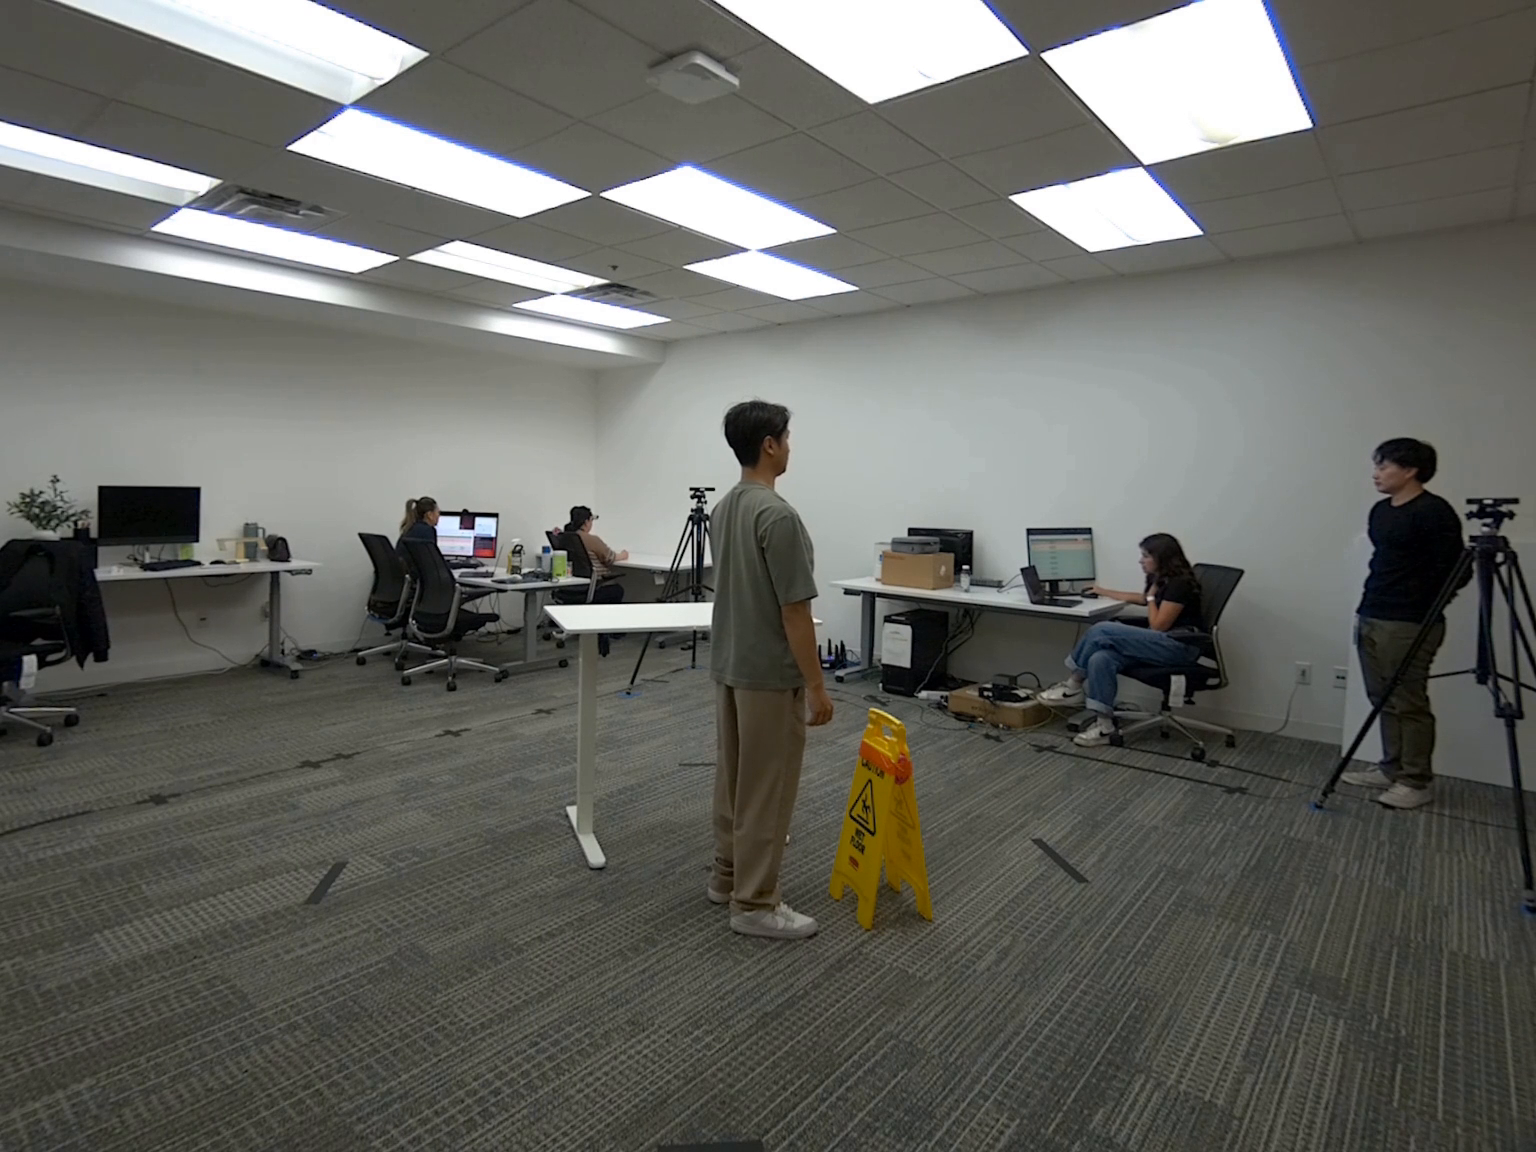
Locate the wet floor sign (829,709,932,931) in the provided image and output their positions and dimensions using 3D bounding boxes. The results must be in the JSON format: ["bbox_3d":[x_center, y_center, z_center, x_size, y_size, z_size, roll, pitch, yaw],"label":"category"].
[{"bbox_3d":[0.377,0.780,2.839,0.284,0.644,0.289,2,4,-20],"label":"wet floor sign"}]
